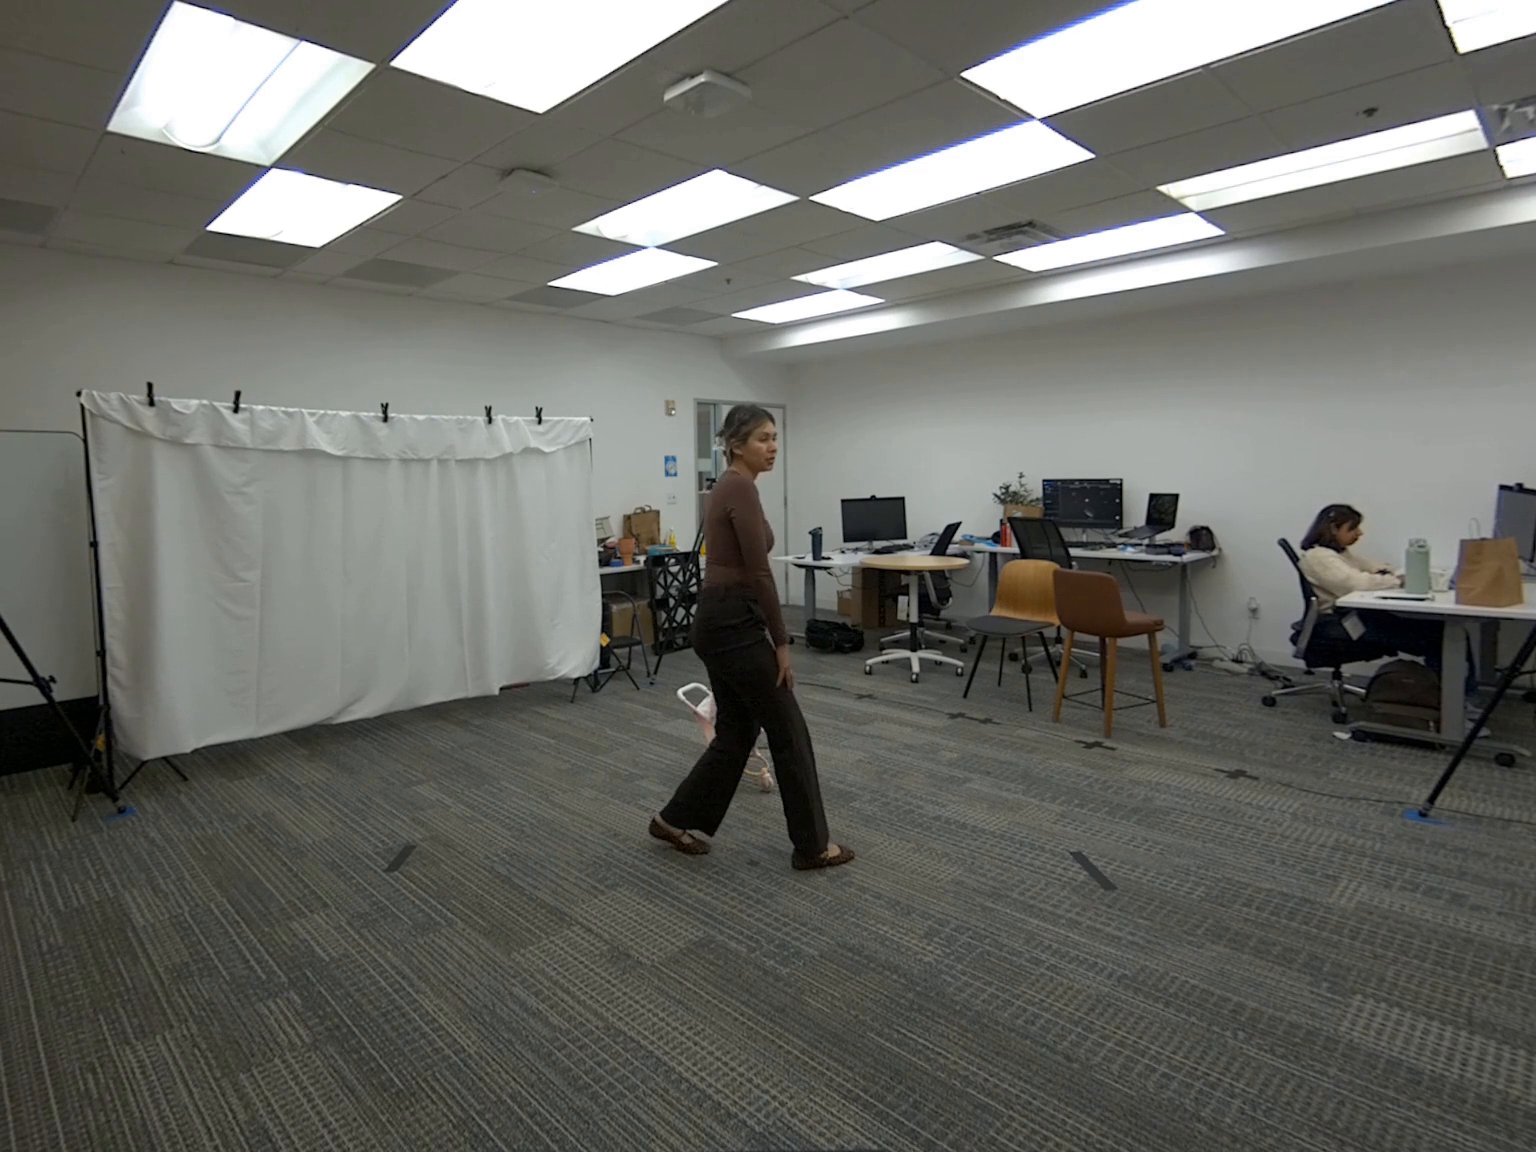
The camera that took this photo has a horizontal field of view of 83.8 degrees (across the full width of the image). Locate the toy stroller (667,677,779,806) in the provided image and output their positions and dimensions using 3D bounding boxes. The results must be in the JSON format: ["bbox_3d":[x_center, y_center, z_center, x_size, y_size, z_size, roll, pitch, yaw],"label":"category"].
[{"bbox_3d":[-0.176,0.727,3.888,0.347,0.538,0.275,-18,-4,34],"label":"toy stroller"}]
